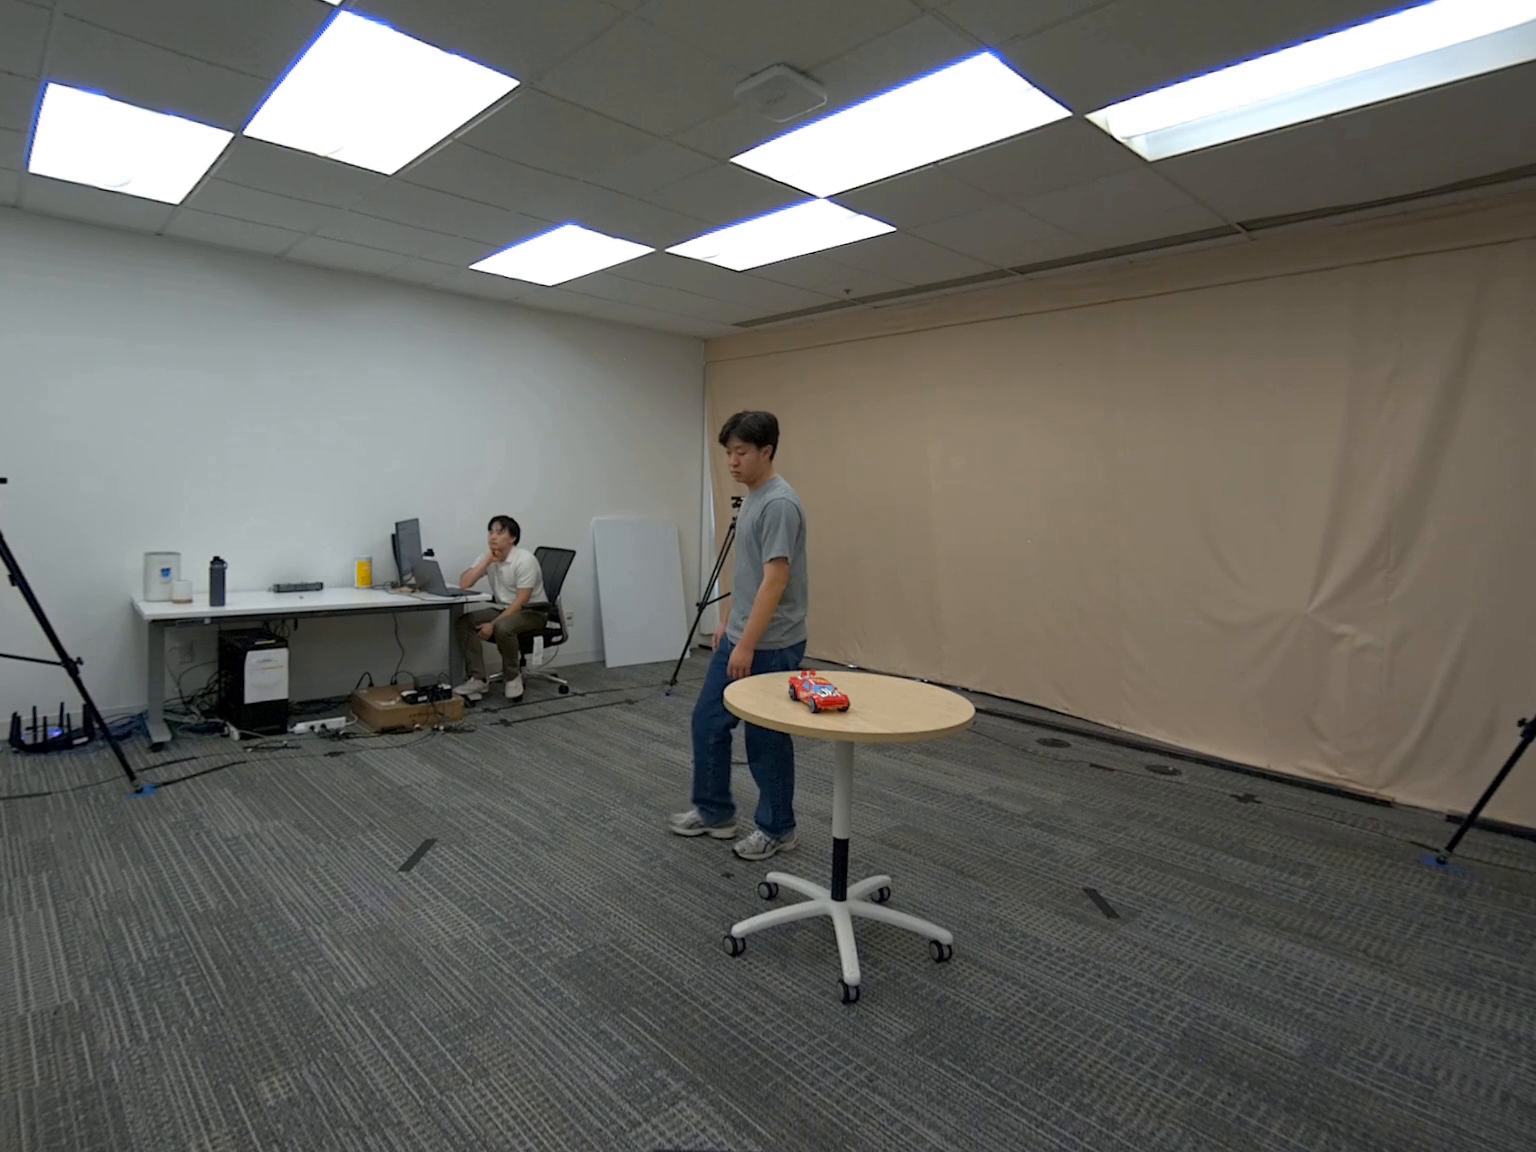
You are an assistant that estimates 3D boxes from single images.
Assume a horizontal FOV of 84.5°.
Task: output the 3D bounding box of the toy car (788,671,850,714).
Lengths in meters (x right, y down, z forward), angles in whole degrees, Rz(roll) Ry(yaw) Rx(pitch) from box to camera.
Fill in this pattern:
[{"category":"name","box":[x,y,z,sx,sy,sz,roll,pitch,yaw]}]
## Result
[{"category":"toy car","box":[0.140,0.354,2.506,0.128,0.082,0.261,0,17,-19]}]
